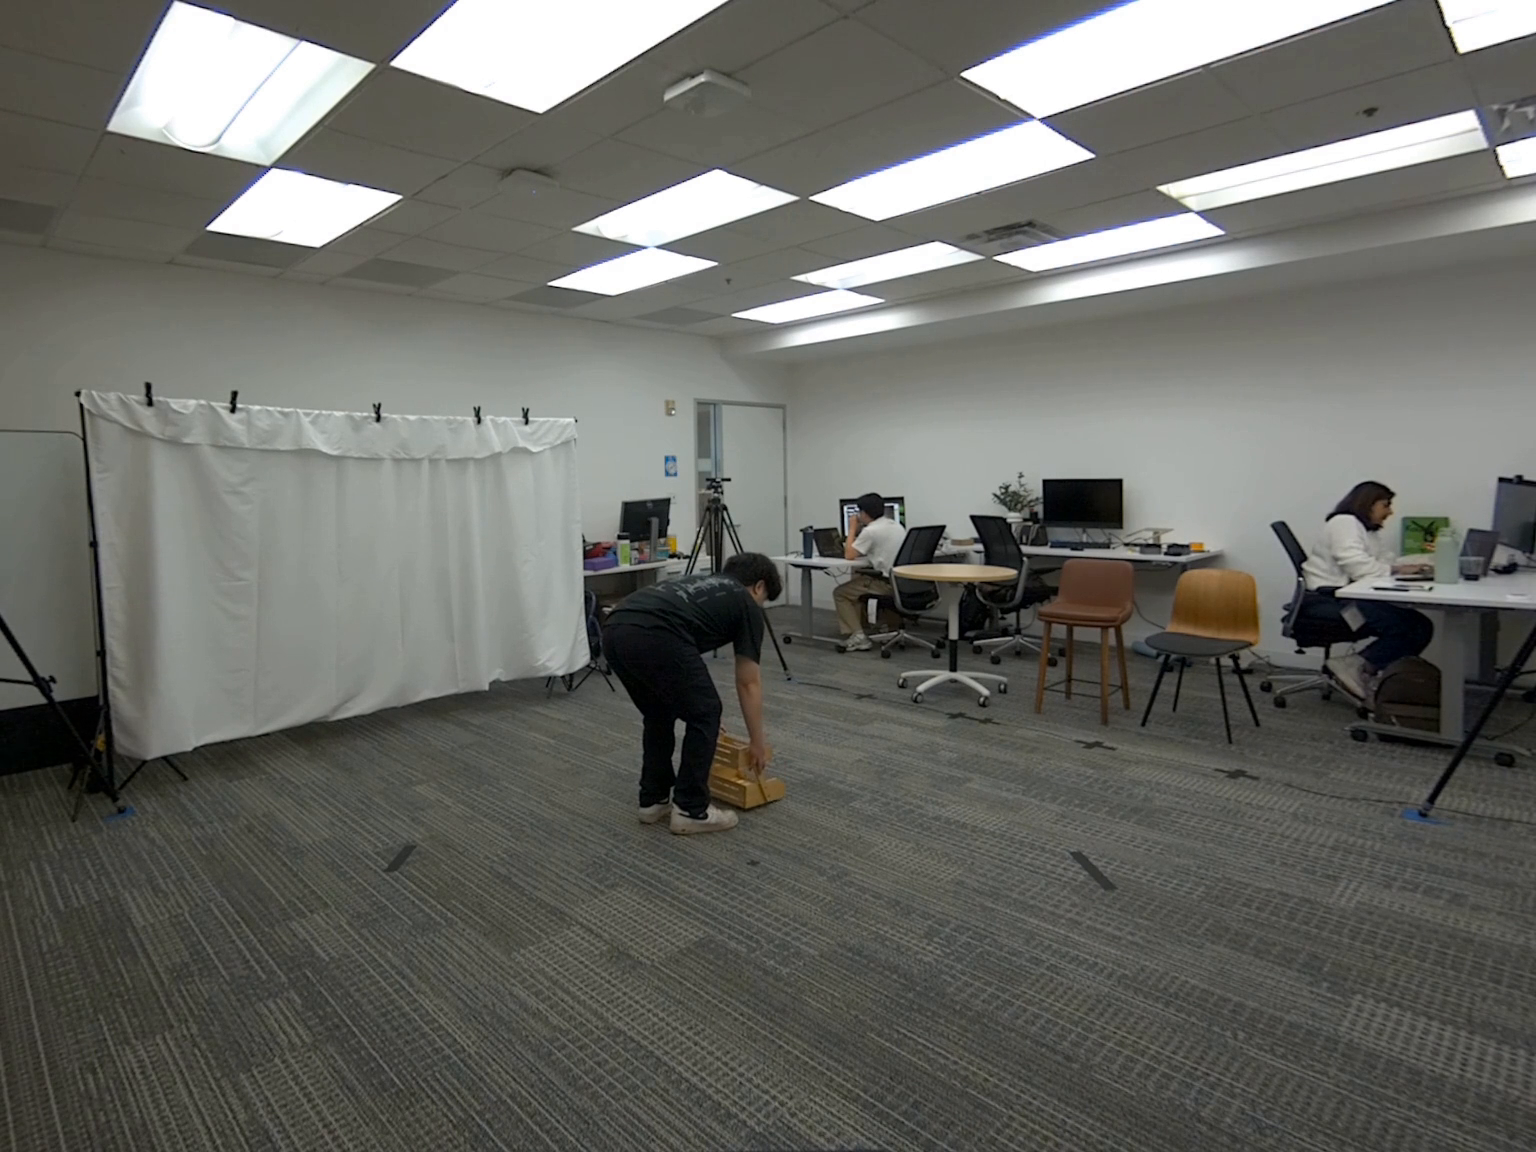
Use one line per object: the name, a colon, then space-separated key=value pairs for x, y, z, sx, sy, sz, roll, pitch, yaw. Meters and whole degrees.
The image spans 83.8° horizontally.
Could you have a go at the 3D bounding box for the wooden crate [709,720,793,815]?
wooden crate: x=-0.121 y=0.818 z=3.731 sx=0.334 sy=0.272 sz=0.294 roll=4 pitch=5 yaw=44
